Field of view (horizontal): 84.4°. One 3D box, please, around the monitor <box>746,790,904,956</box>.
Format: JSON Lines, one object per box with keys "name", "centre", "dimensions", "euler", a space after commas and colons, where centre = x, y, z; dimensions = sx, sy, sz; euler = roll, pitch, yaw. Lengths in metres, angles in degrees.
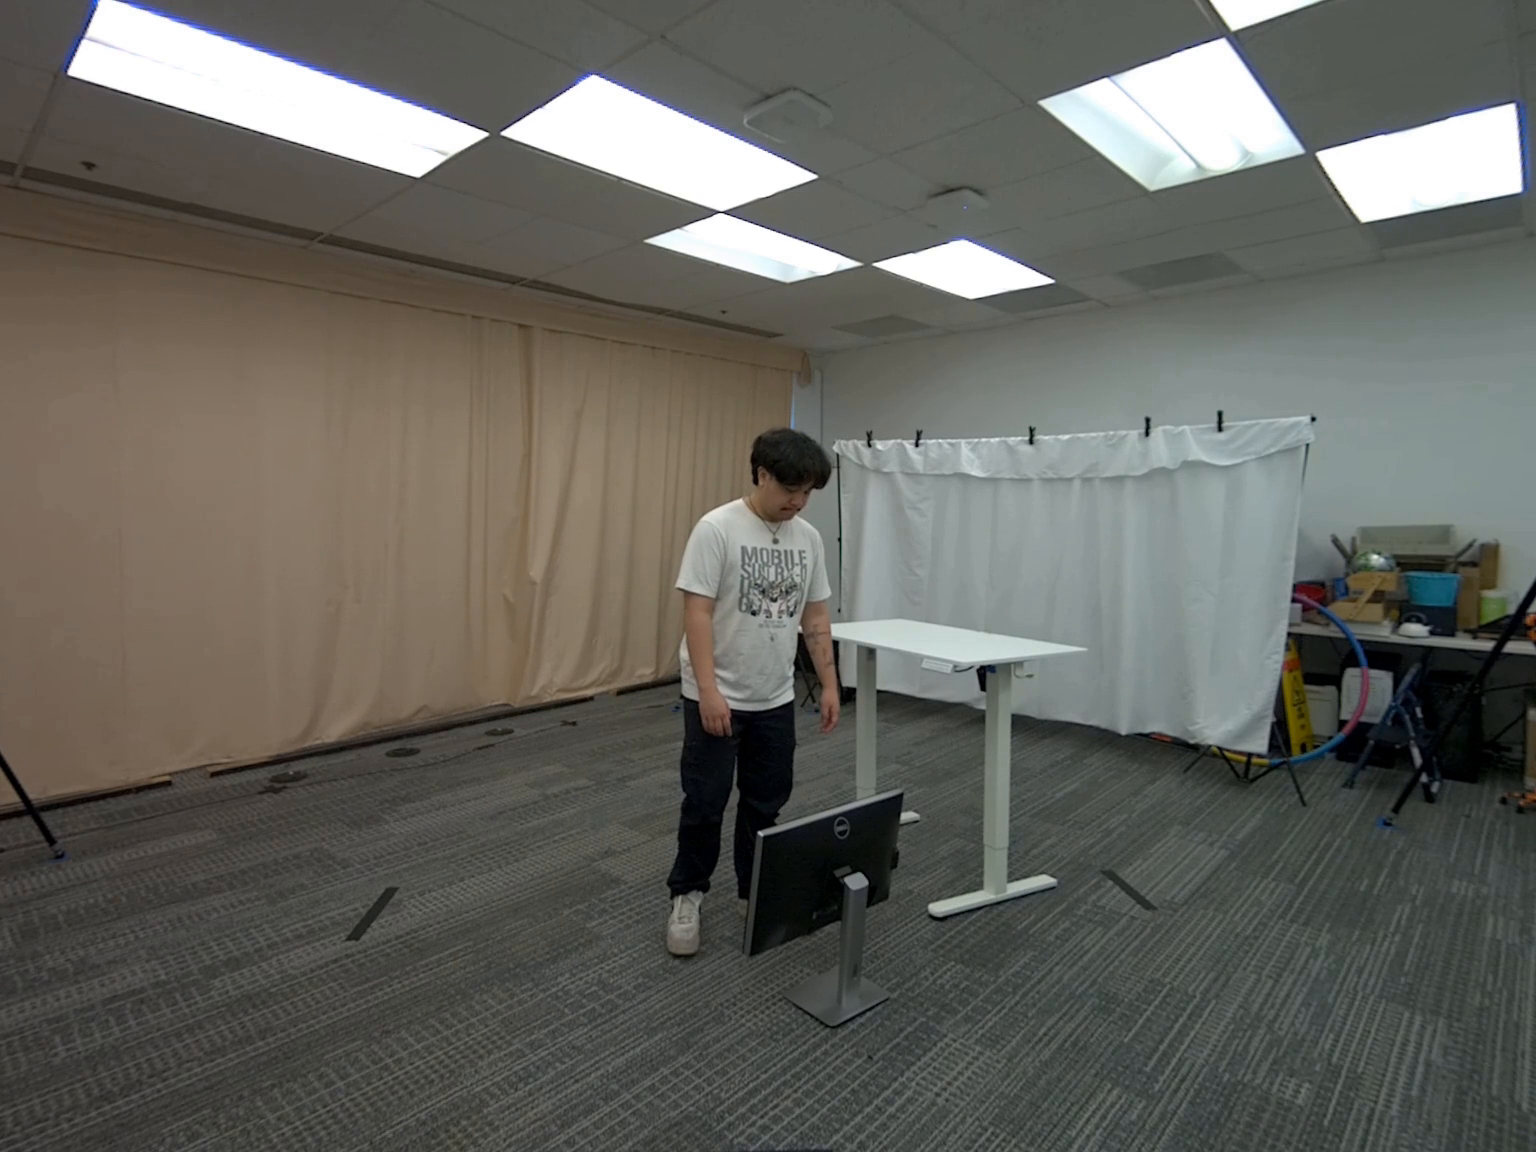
{"name": "monitor", "centre": [0.218, 0.934, 2.348], "dimensions": [0.548, 0.552, 0.217], "euler": [-2, 9, -38]}
